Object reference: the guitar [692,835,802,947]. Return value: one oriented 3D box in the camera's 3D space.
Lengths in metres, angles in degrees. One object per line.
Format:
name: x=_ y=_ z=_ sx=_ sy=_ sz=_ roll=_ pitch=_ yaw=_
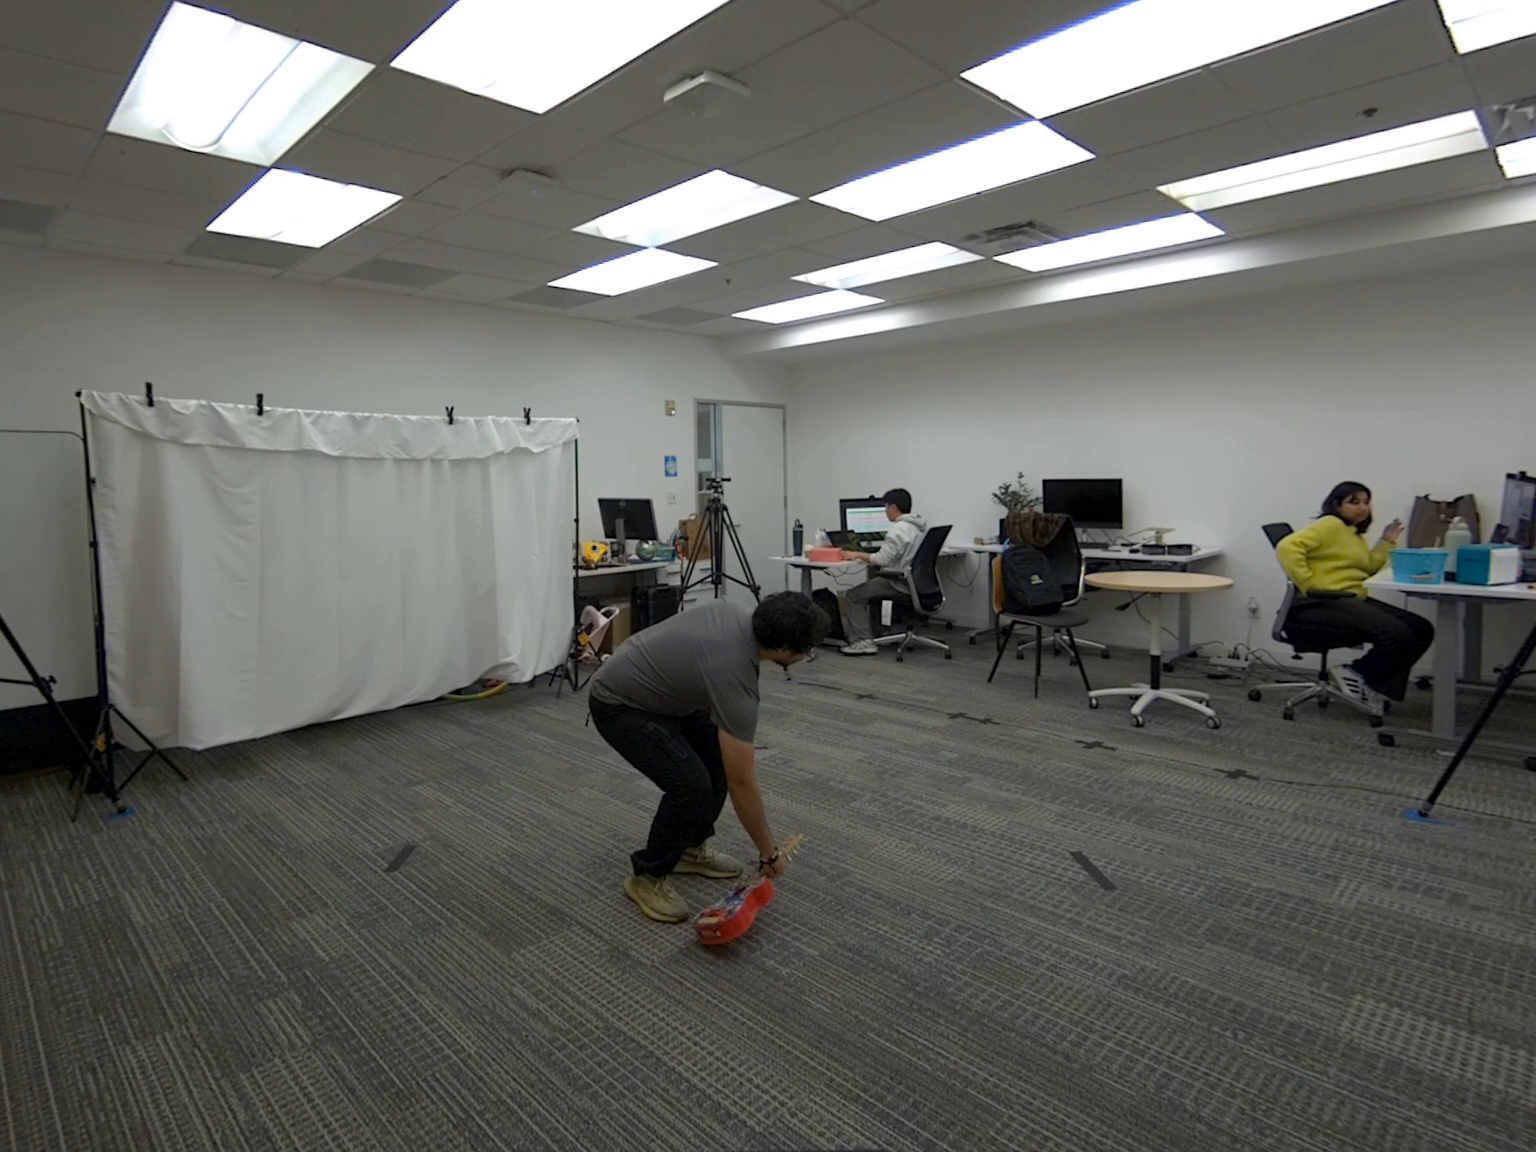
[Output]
guitar: x=-0.023 y=0.963 z=2.660 sx=0.491 sy=0.070 sz=0.196 roll=-28 pitch=4 yaw=-39
